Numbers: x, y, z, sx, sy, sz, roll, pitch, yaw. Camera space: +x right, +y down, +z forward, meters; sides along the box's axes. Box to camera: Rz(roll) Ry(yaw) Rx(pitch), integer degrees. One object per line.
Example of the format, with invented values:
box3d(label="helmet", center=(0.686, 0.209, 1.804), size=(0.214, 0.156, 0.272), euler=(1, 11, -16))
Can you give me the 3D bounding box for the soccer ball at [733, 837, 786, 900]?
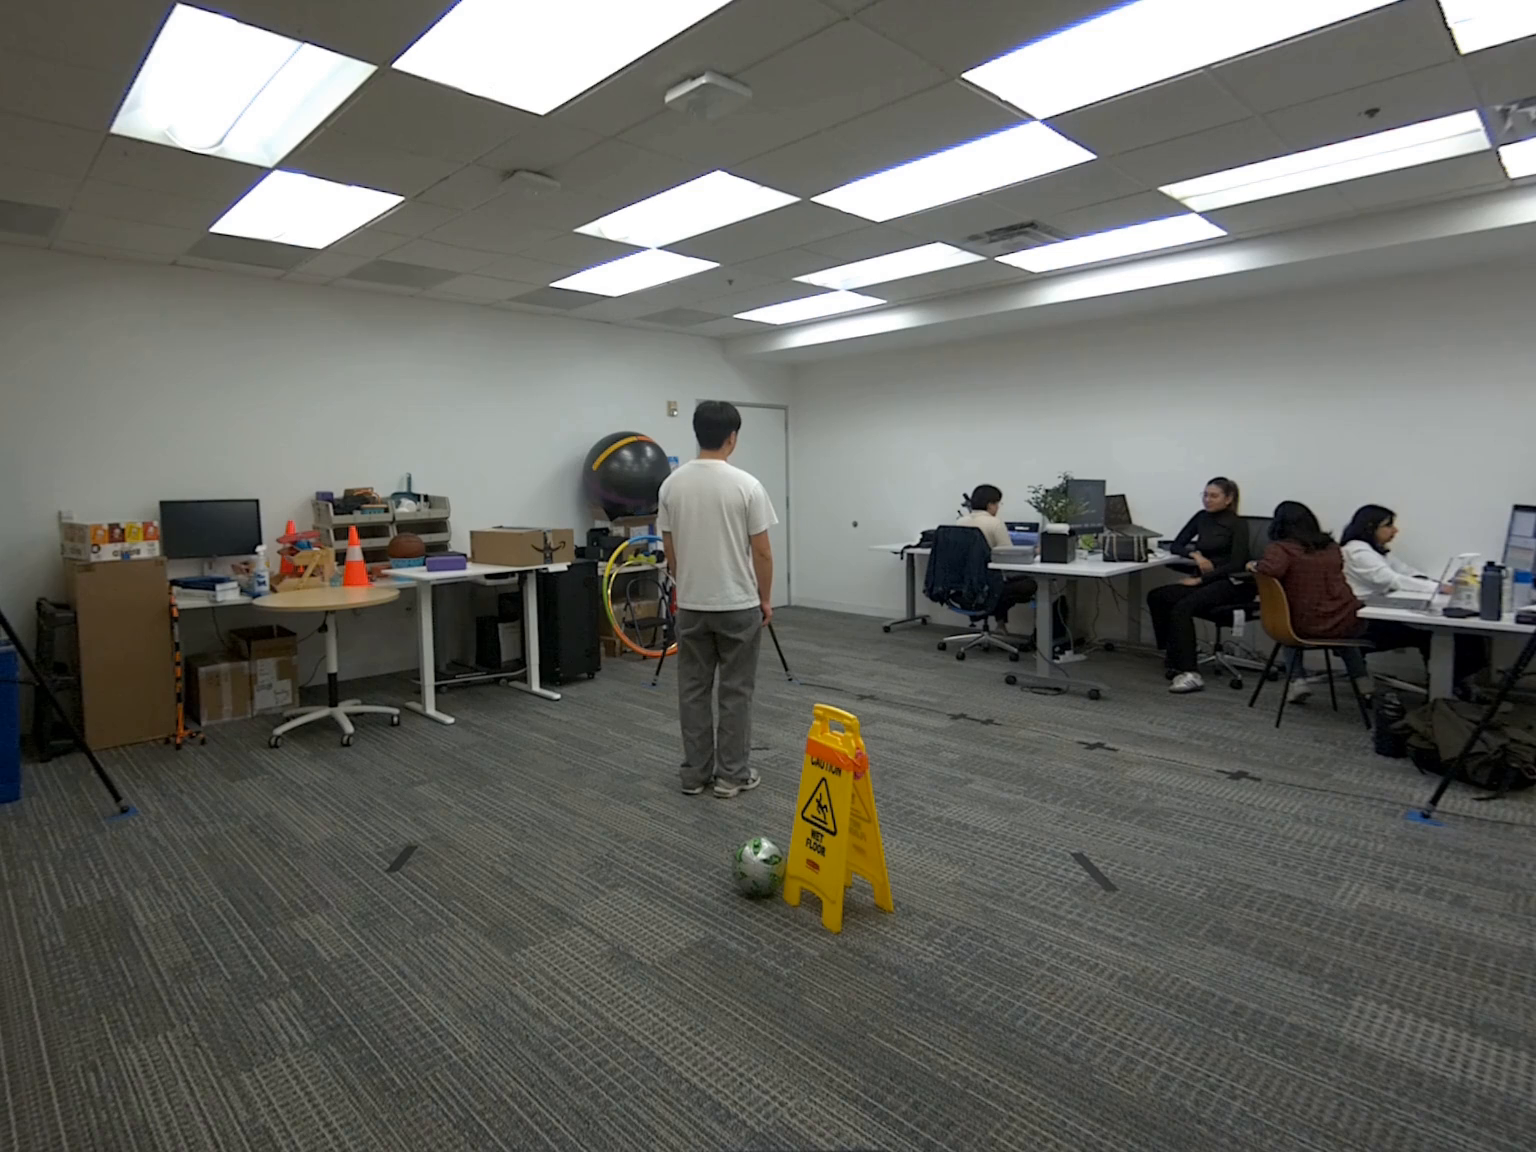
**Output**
box3d(label="soccer ball", center=(-0.028, 0.983, 2.894), size=(0.187, 0.187, 0.188), euler=(-1, 5, -2))
